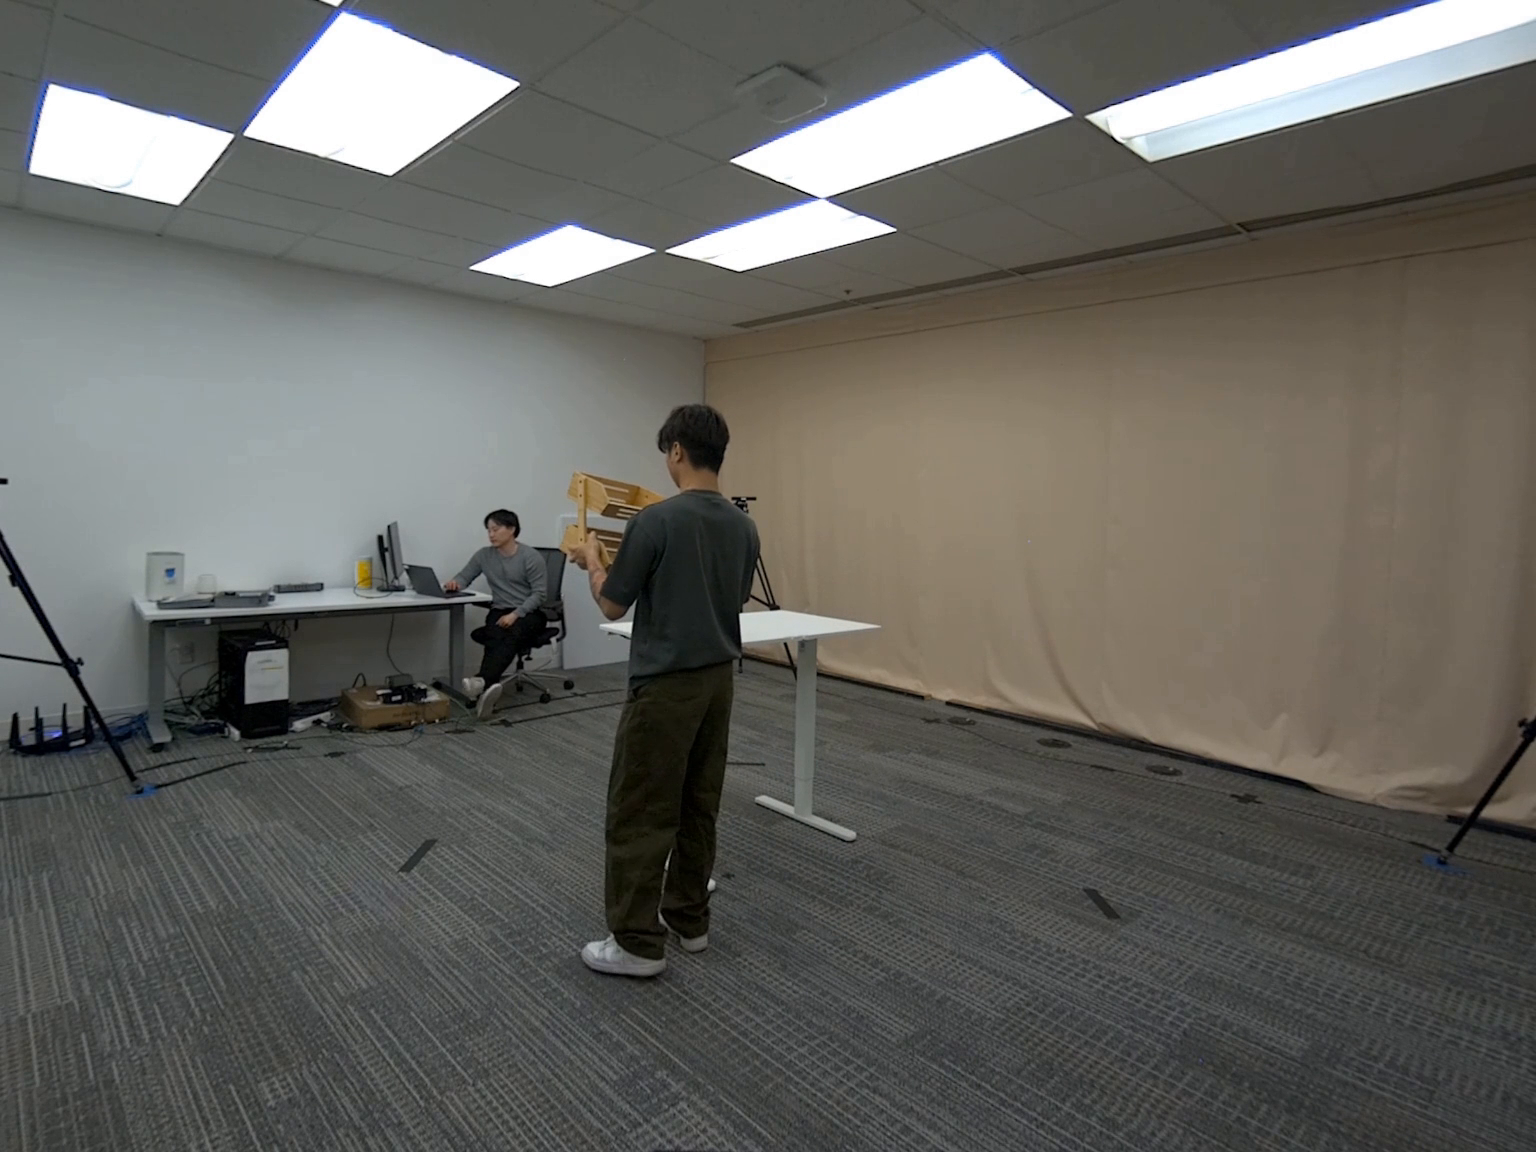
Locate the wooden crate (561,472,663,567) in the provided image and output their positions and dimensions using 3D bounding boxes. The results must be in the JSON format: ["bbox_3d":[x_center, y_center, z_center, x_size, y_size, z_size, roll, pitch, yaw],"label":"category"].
[{"bbox_3d":[-0.488,-0.166,2.810,0.311,0.272,0.316,25,10,38],"label":"wooden crate"}]
